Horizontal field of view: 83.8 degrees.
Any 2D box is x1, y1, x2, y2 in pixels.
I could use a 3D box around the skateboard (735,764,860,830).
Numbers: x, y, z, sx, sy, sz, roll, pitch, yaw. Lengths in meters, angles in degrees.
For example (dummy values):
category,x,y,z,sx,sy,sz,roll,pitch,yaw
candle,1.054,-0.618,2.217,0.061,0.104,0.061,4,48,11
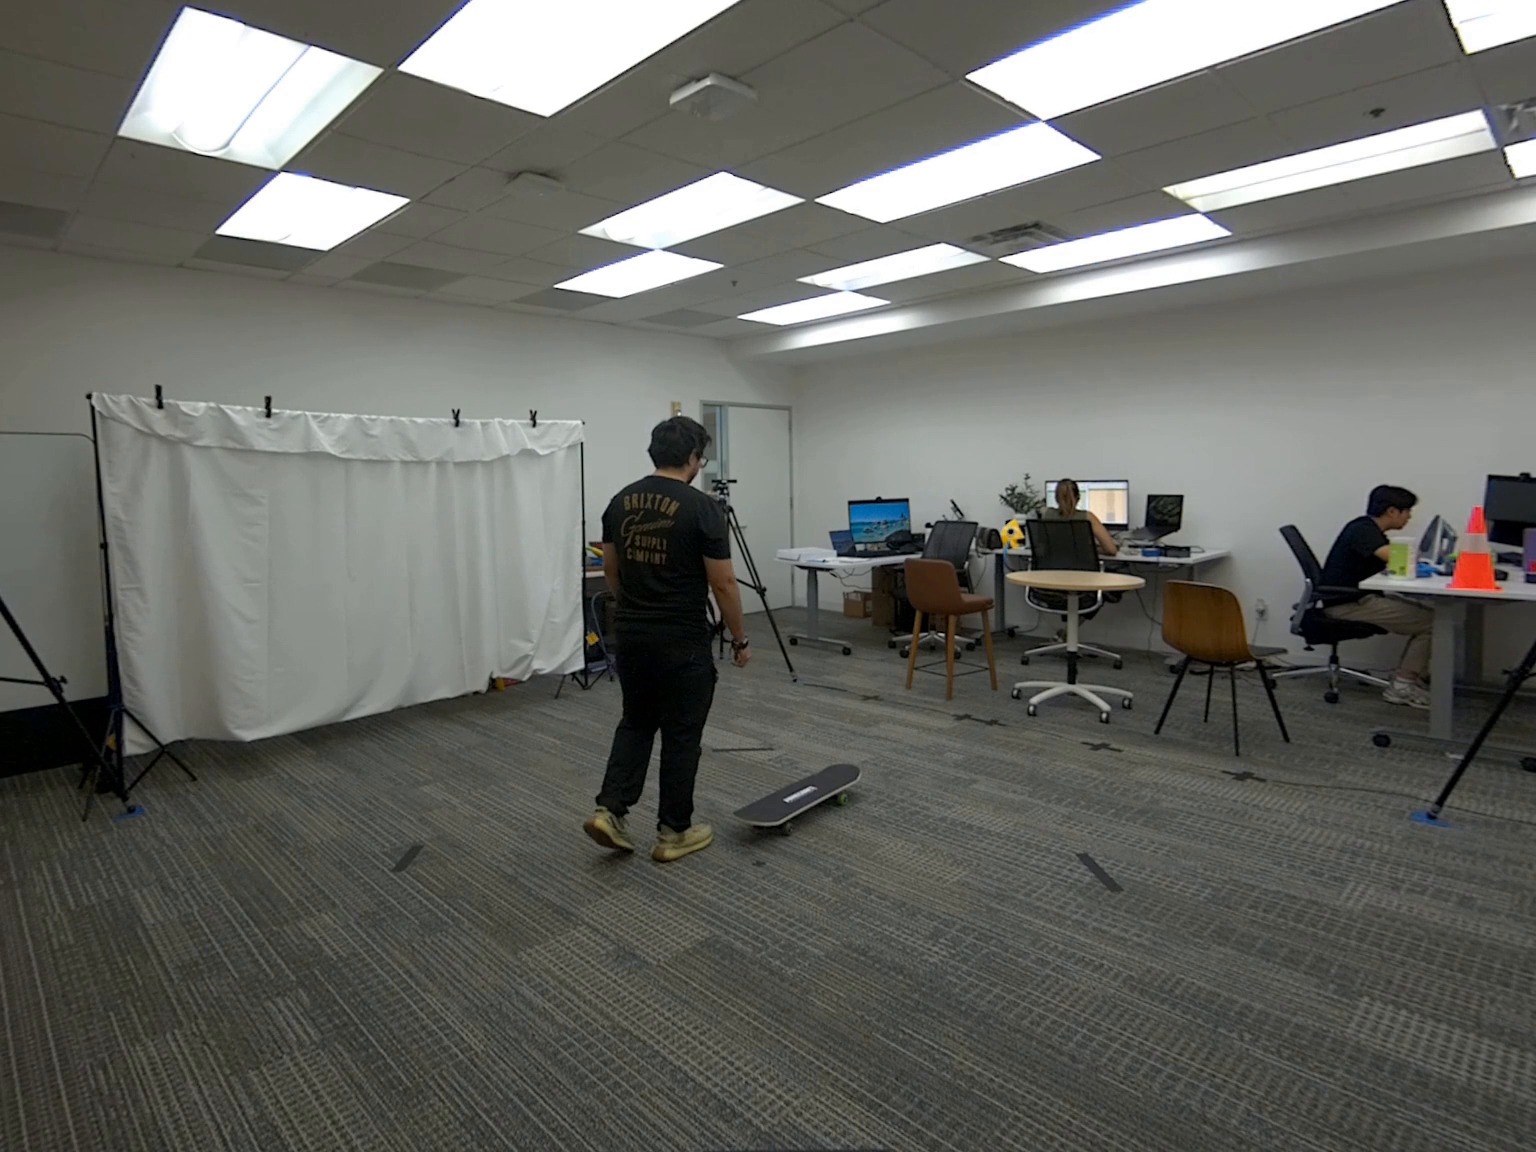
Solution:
category,x,y,z,sx,sy,sz,roll,pitch,yaw
skateboard,0.139,0.935,3.551,0.199,0.110,0.766,4,9,38
